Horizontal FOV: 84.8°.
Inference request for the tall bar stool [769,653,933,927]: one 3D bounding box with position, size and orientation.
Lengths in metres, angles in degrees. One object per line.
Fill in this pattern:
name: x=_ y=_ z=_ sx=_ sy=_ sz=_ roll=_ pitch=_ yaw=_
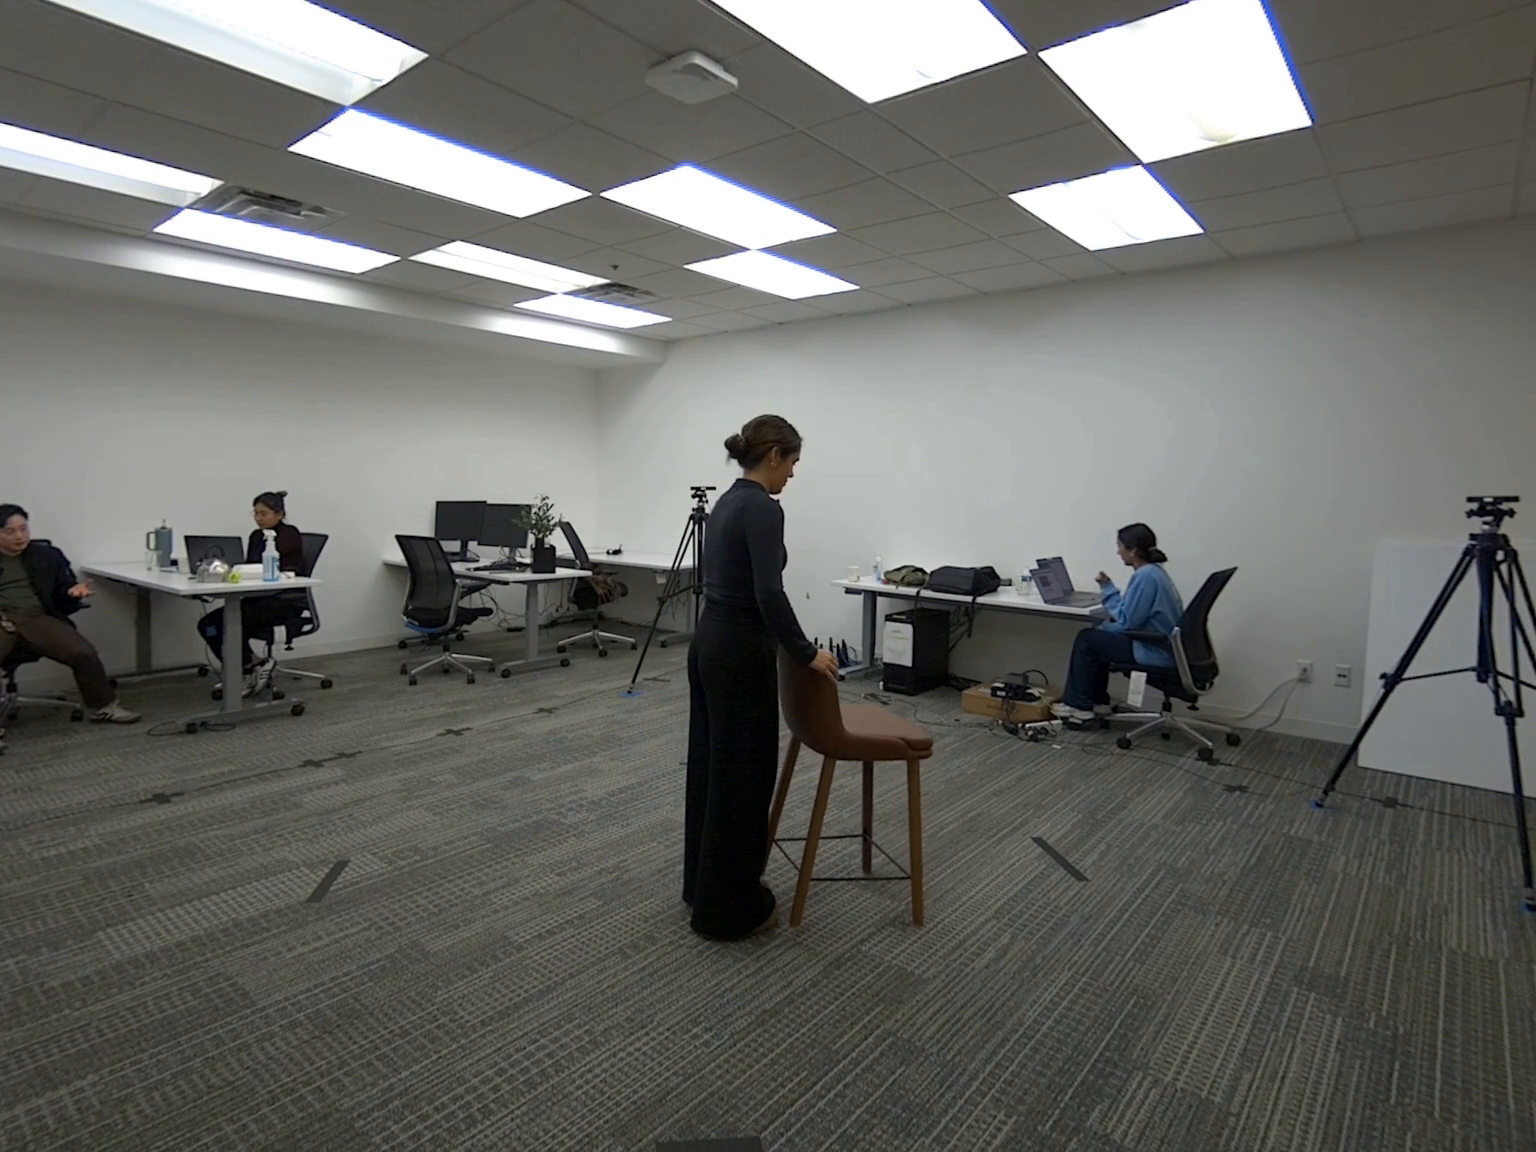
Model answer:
tall bar stool: x=0.255 y=0.647 z=2.848 sx=0.459 sy=0.888 sz=0.466 roll=2 pitch=3 yaw=-18
